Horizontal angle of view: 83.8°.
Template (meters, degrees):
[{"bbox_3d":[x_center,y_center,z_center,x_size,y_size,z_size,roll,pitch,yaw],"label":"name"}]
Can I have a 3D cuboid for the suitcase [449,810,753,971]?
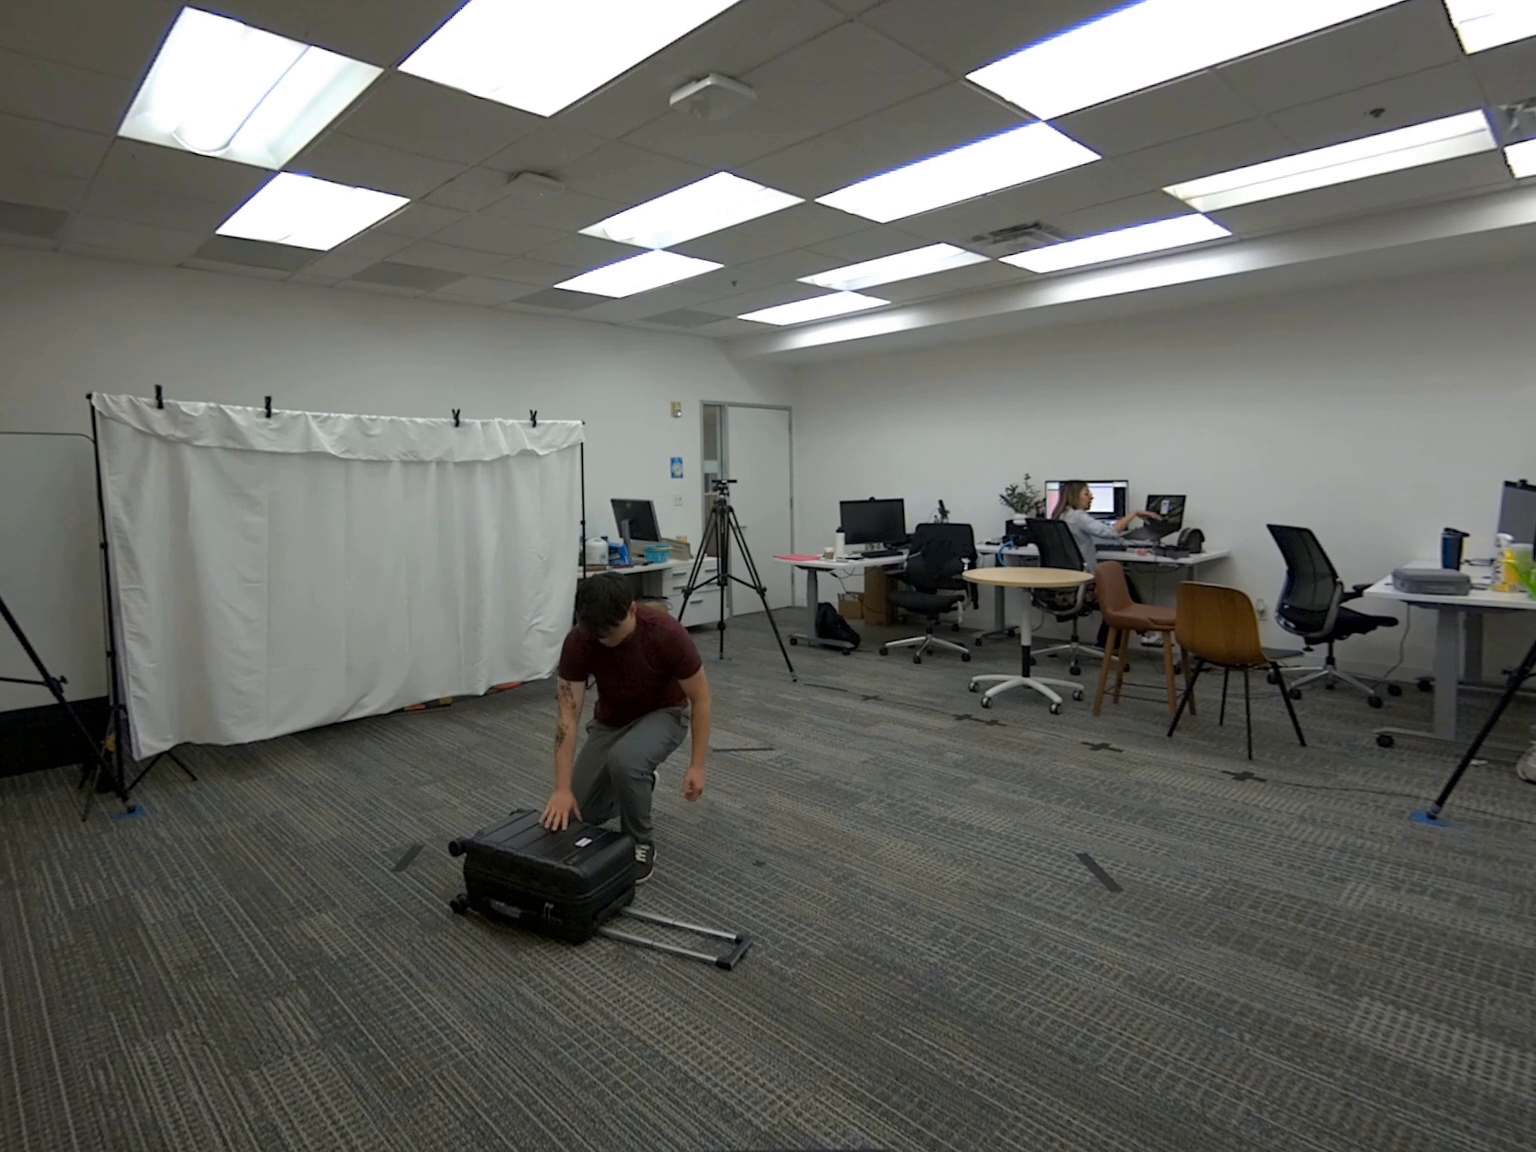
[{"bbox_3d":[-0.531,0.980,2.712,1.001,0.256,0.376,2,4,25],"label":"suitcase"}]
